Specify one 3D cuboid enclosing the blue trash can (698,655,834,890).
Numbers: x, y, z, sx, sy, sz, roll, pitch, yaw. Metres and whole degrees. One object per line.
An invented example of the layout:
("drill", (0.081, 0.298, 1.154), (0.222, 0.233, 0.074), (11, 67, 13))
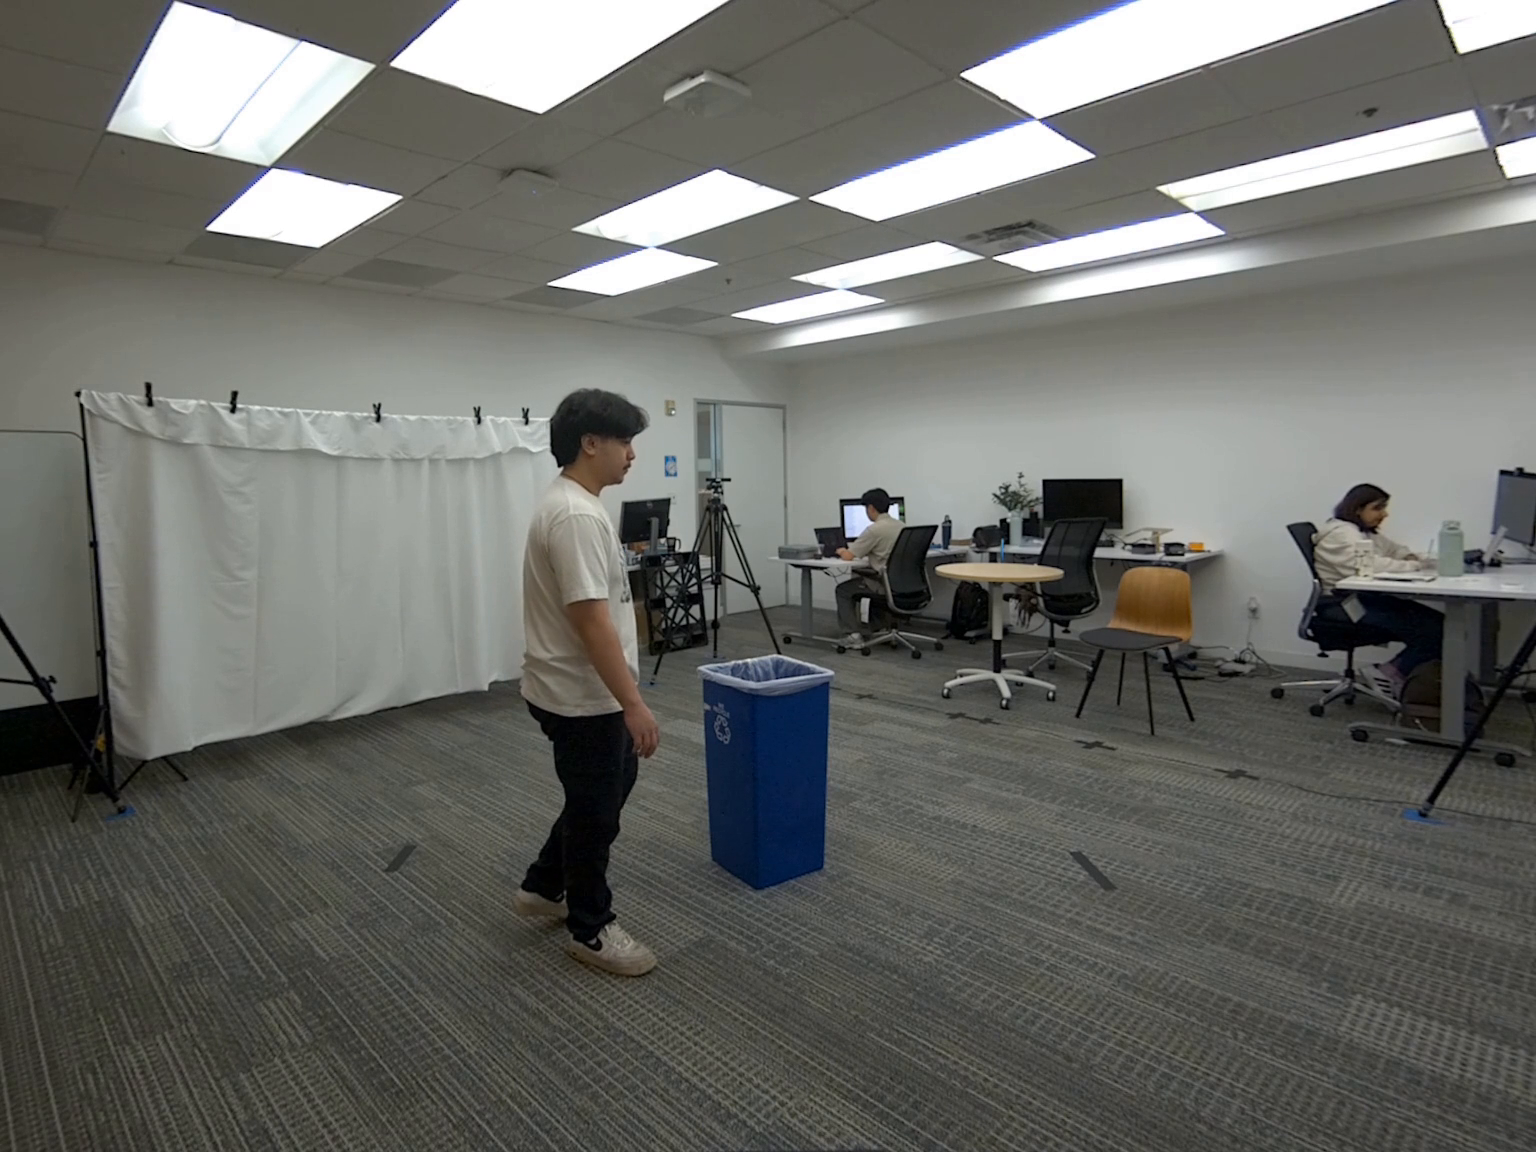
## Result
("blue trash can", (0.001, 0.687, 3.070), (0.368, 0.711, 0.385), (-4, 5, -35))
